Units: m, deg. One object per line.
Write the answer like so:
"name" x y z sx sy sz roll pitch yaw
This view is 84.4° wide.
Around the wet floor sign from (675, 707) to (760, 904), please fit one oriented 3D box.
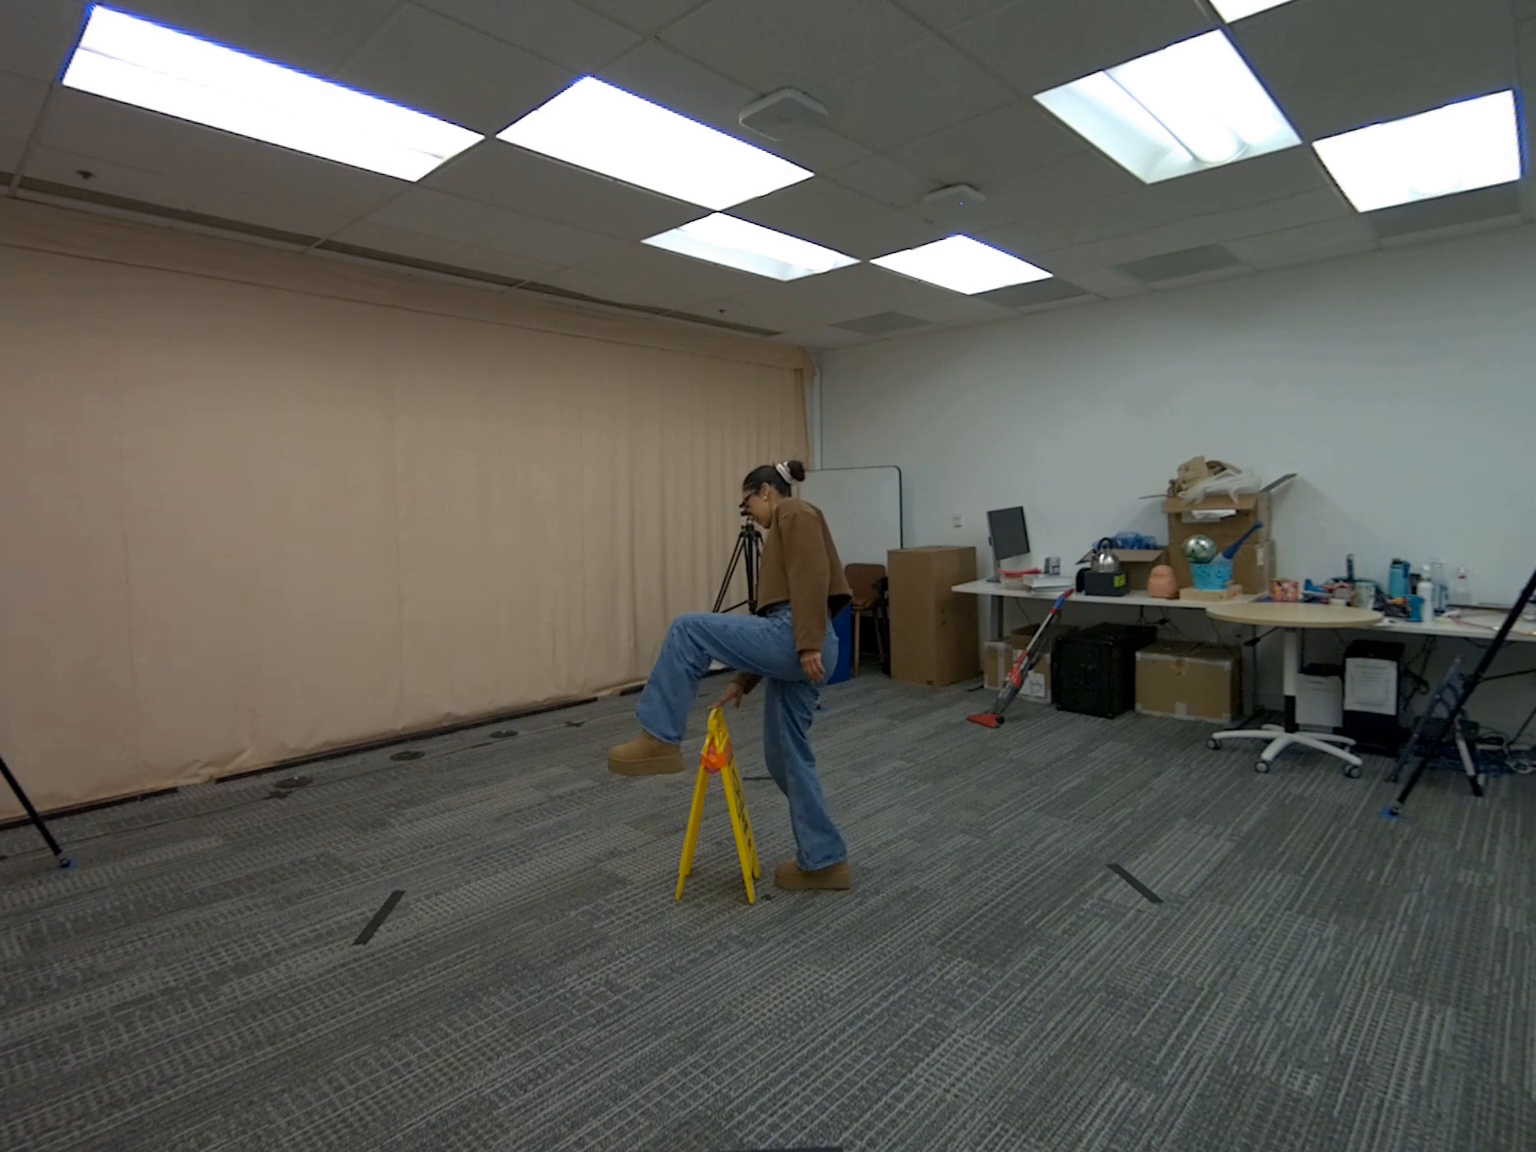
"wet floor sign" -0.185 0.822 3.061 0.292 0.645 0.280 -1 3 6
